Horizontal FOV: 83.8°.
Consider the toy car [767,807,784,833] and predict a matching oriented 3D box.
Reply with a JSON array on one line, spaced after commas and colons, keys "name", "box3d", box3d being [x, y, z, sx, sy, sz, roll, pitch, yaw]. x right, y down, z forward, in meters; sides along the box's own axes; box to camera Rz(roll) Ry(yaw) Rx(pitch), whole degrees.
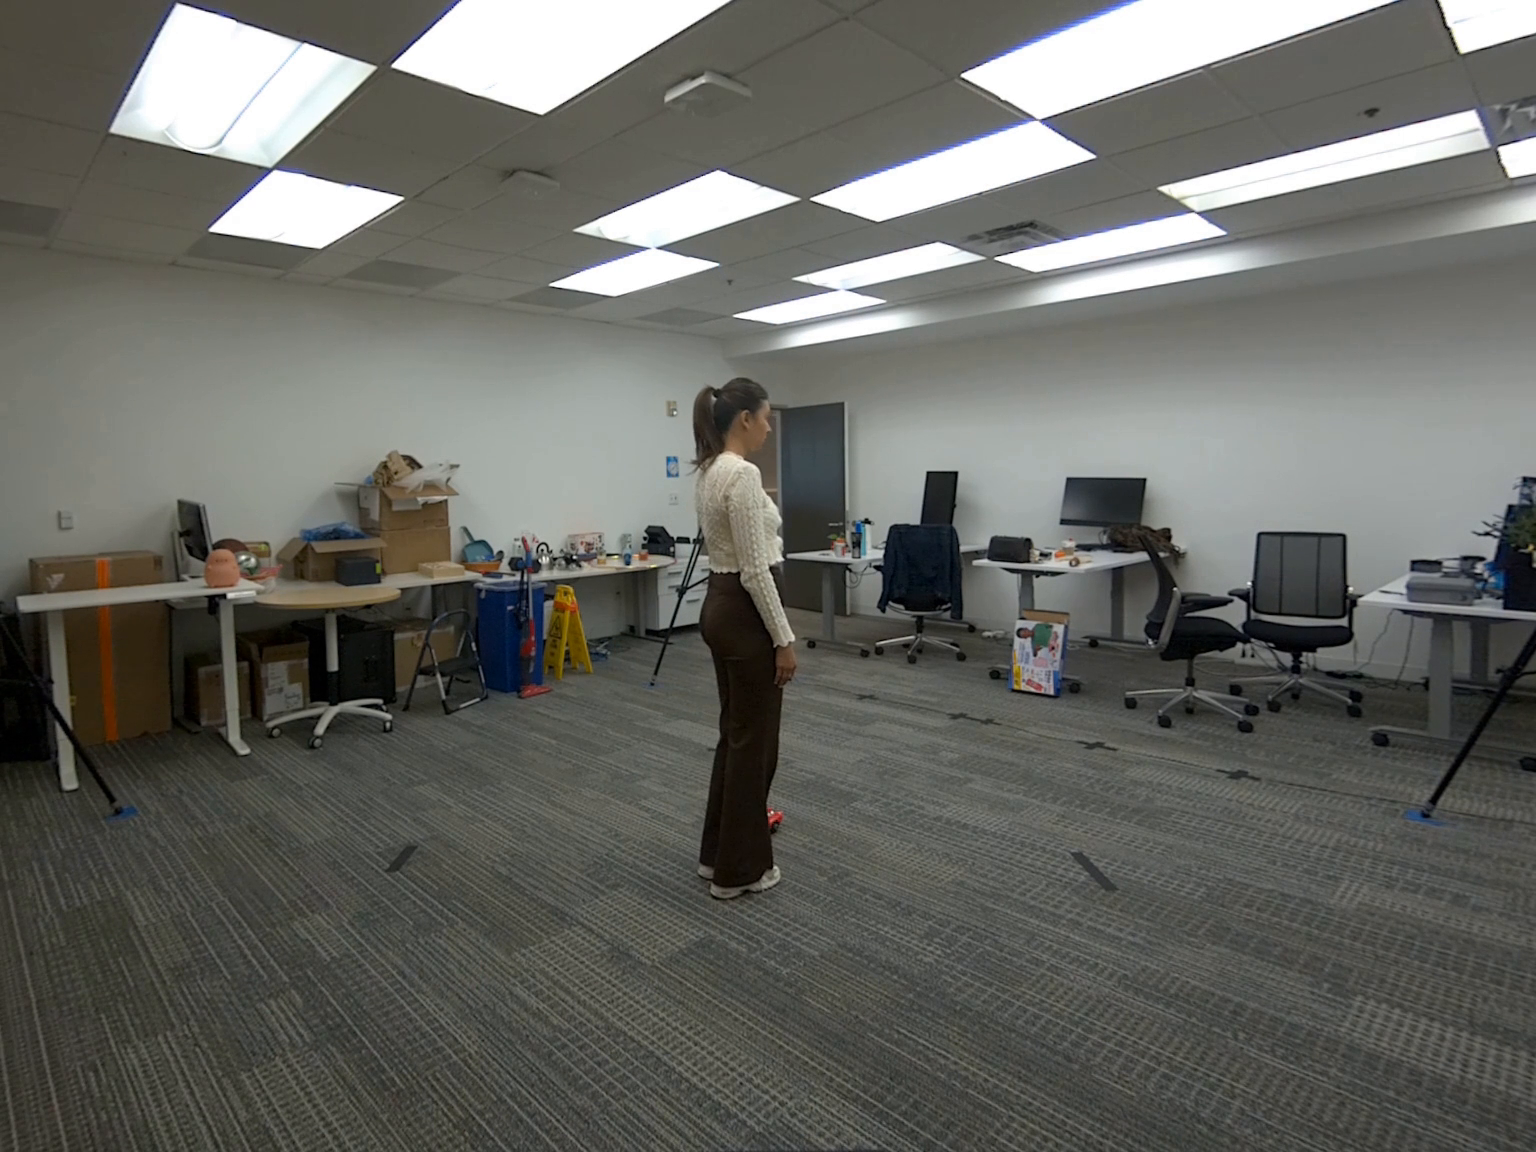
[{"name": "toy car", "box3d": [-0.038, 0.988, 3.368, 0.134, 0.082, 0.250, 5, 19, 41]}]
